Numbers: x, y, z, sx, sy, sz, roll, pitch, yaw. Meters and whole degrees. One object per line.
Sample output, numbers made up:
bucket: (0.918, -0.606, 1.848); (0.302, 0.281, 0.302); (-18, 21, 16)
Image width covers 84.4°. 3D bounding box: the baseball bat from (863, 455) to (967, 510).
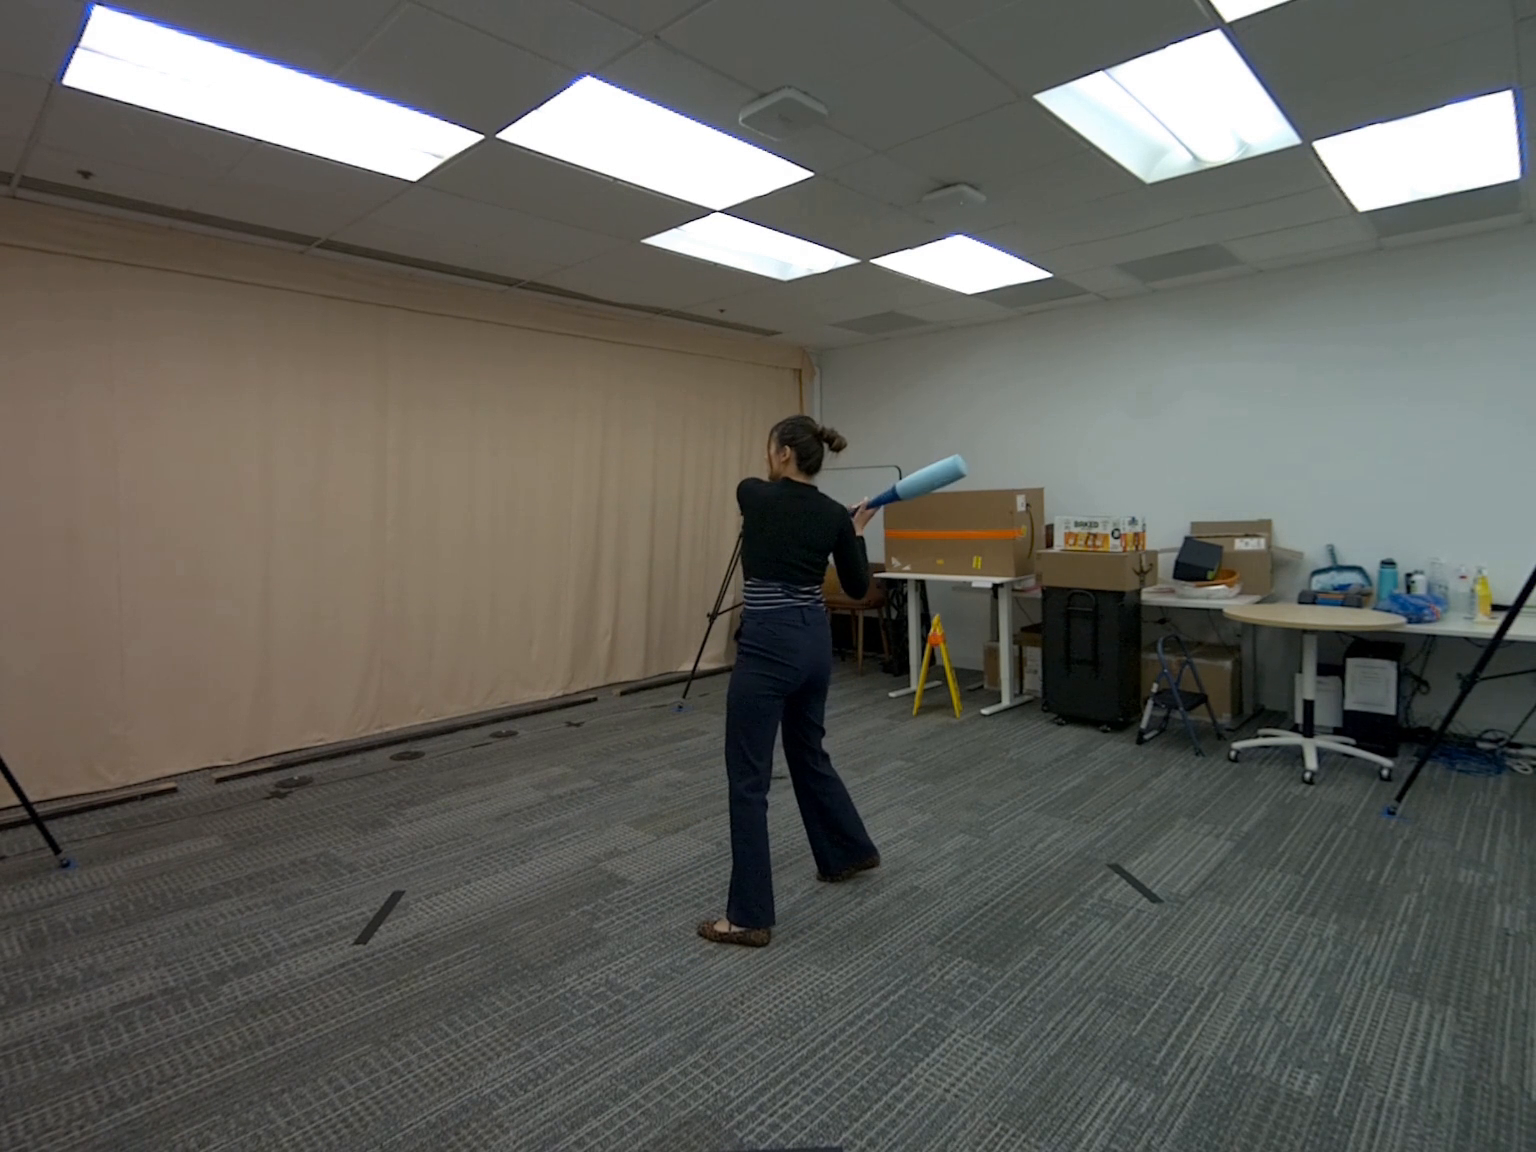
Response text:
baseball bat: (0.440, -0.261, 3.080); (0.553, 0.090, 0.087); (-23, -8, 31)
